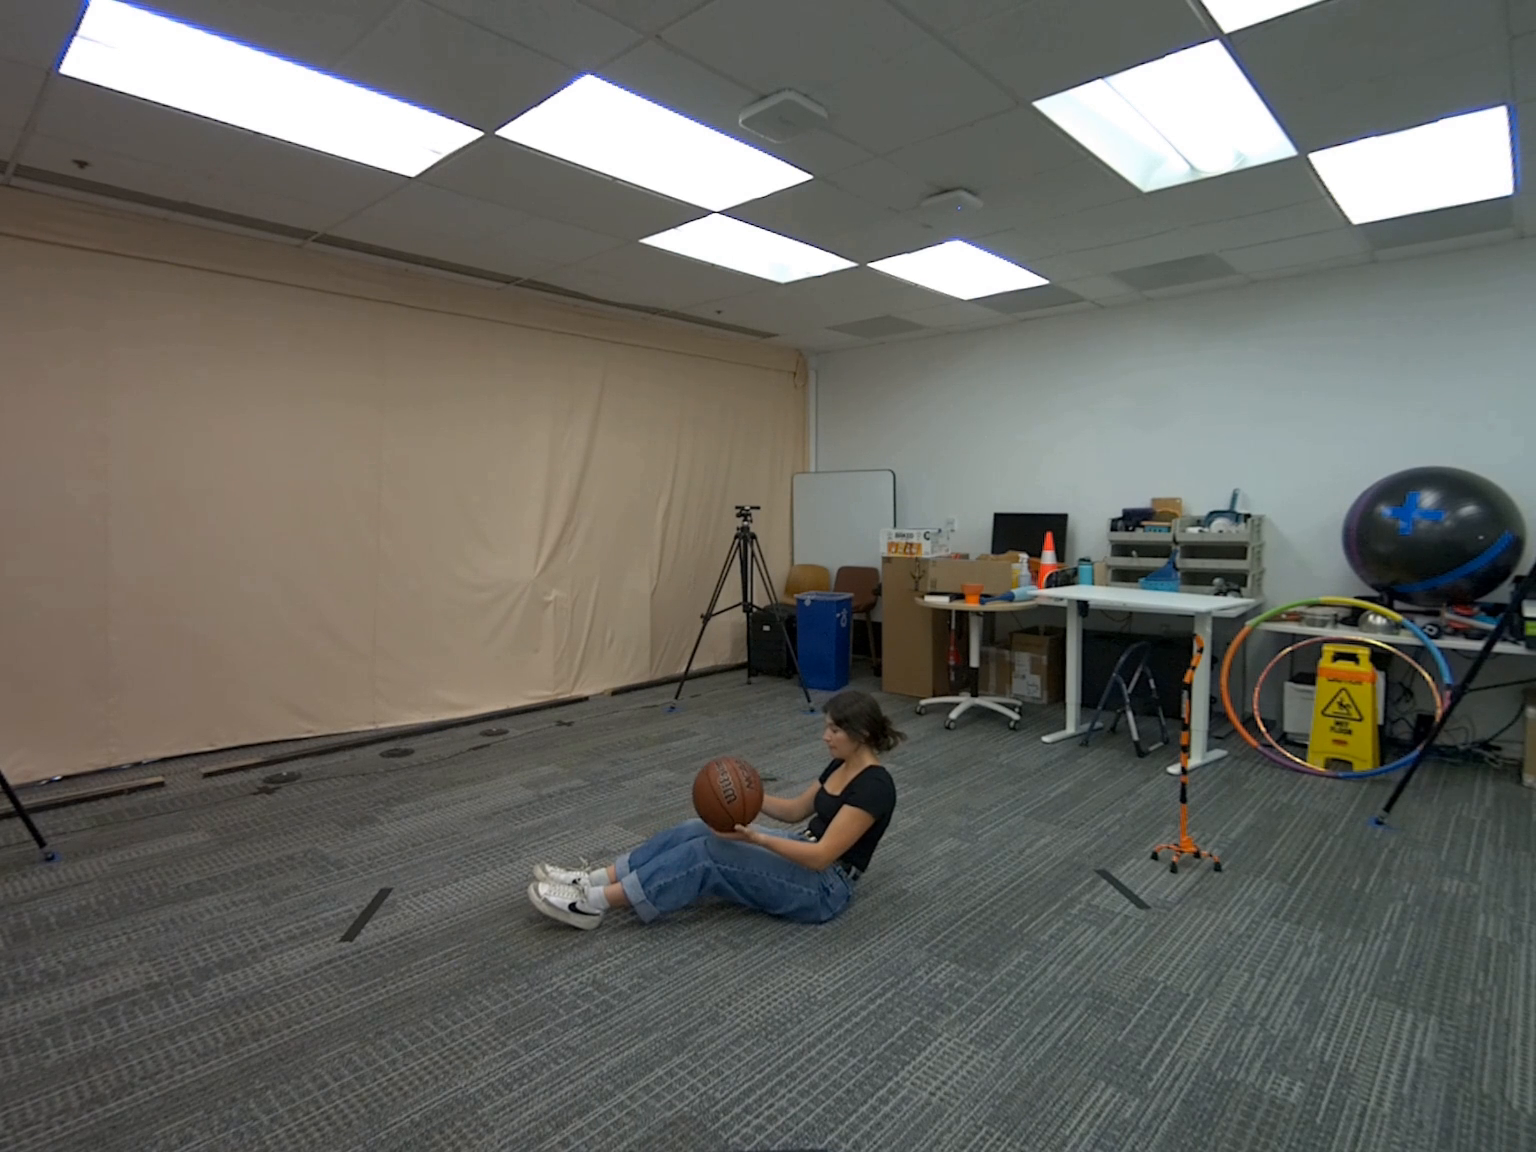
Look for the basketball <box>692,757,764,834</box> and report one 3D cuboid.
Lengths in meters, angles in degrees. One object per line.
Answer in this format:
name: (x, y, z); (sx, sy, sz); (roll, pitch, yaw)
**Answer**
basketball: (-0.124, 0.724, 2.796); (0.236, 0.235, 0.237); (0, 4, -2)
